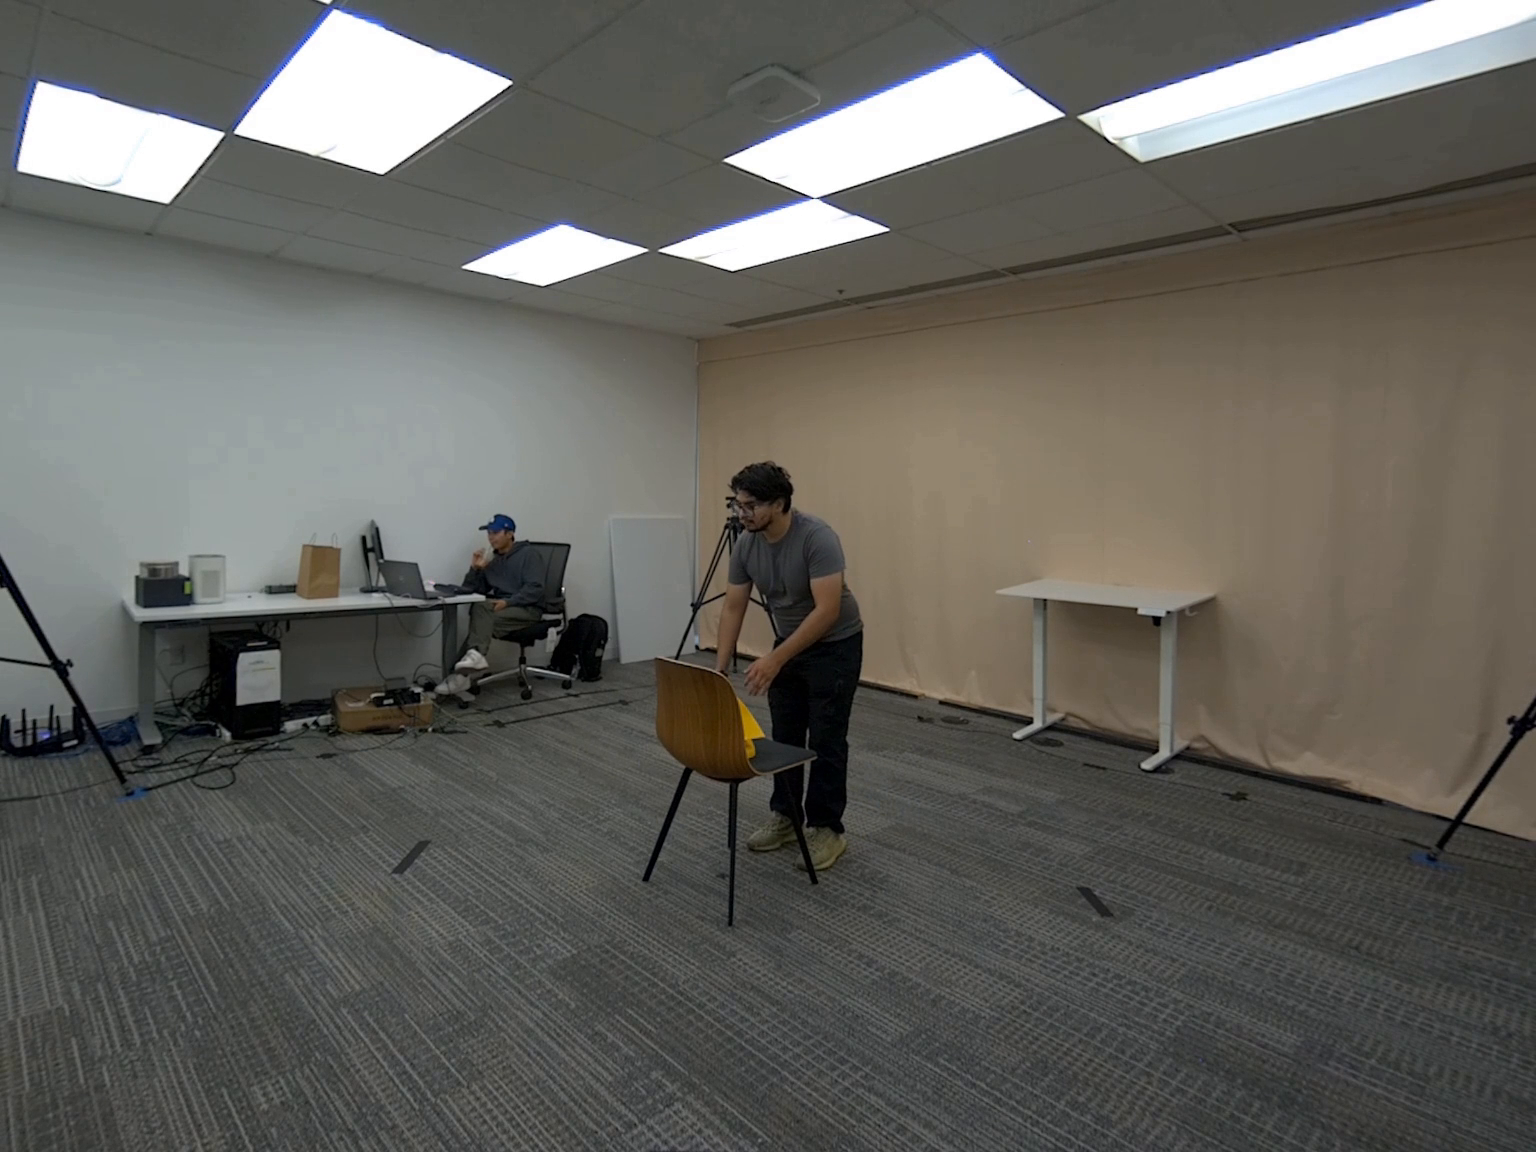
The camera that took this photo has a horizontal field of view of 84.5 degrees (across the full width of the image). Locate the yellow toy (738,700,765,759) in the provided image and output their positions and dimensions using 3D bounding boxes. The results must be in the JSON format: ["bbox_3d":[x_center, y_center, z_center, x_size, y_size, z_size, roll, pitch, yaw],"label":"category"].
[{"bbox_3d":[-0.153,0.526,3.000,0.201,0.230,0.197,-4,7,-29],"label":"yellow toy"}]
